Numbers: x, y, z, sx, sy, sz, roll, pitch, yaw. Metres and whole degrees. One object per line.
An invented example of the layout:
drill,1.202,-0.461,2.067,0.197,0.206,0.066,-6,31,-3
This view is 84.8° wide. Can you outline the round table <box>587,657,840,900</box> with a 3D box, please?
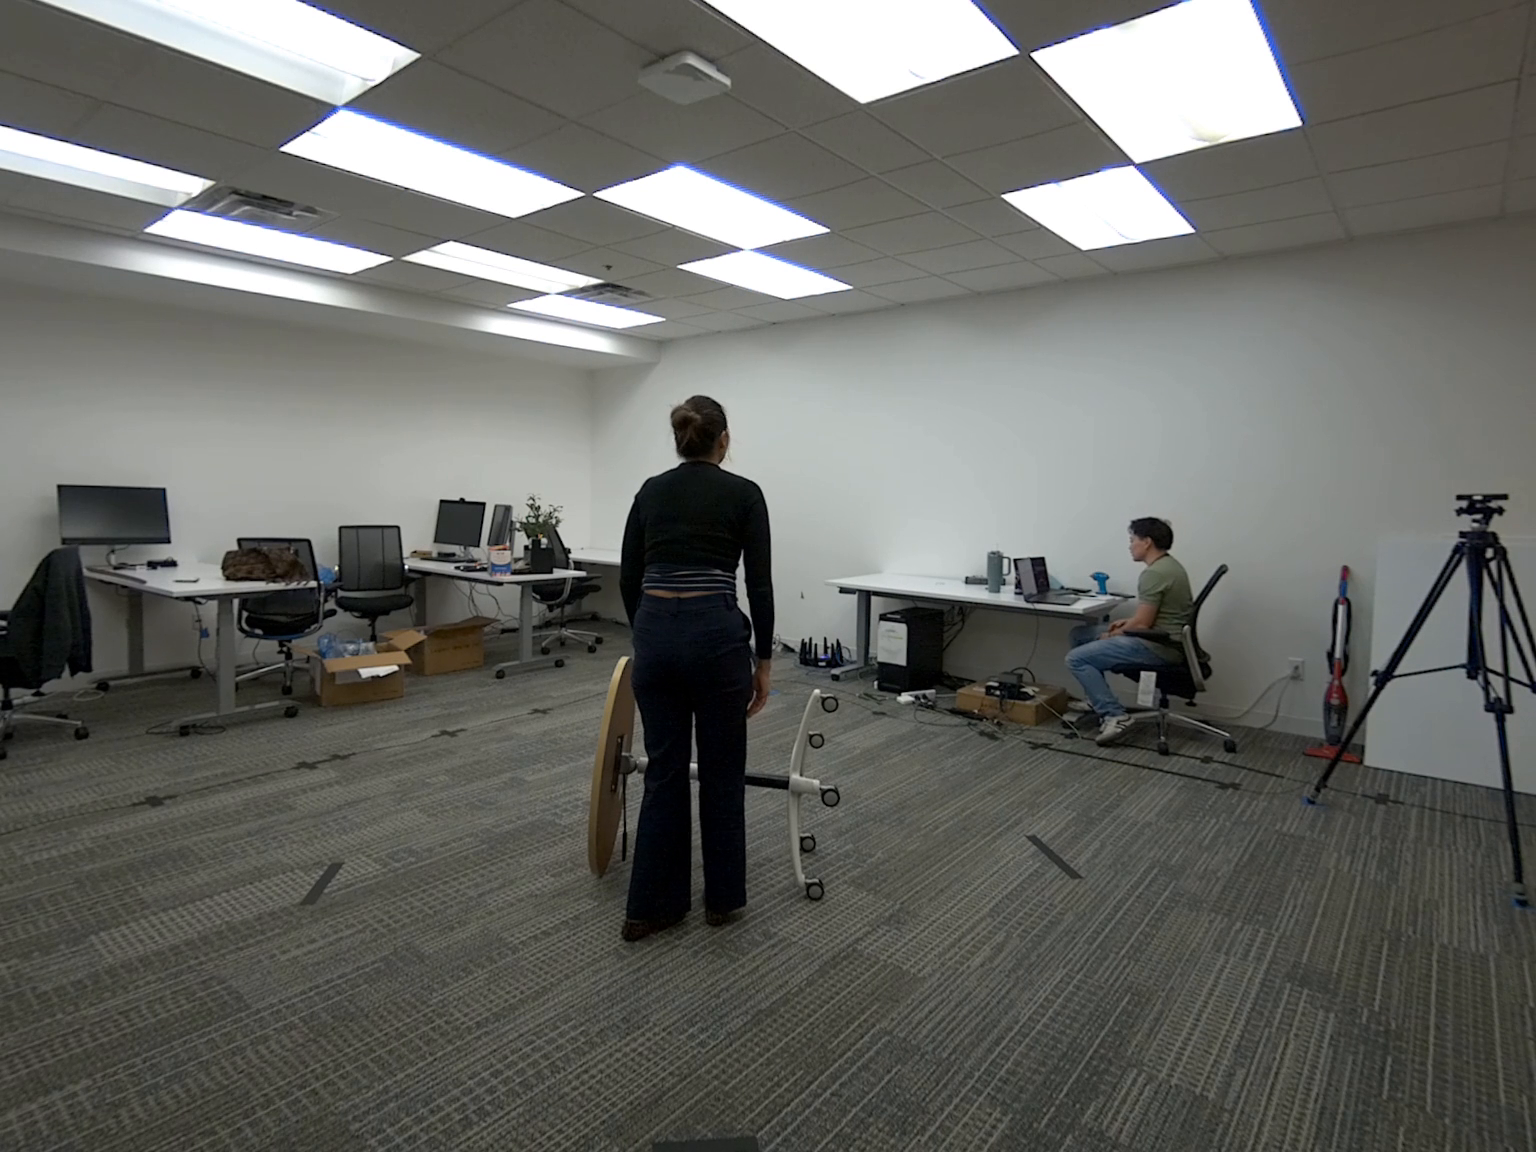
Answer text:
round table,-0.187,0.730,3.092,0.795,0.762,0.766,5,4,0
